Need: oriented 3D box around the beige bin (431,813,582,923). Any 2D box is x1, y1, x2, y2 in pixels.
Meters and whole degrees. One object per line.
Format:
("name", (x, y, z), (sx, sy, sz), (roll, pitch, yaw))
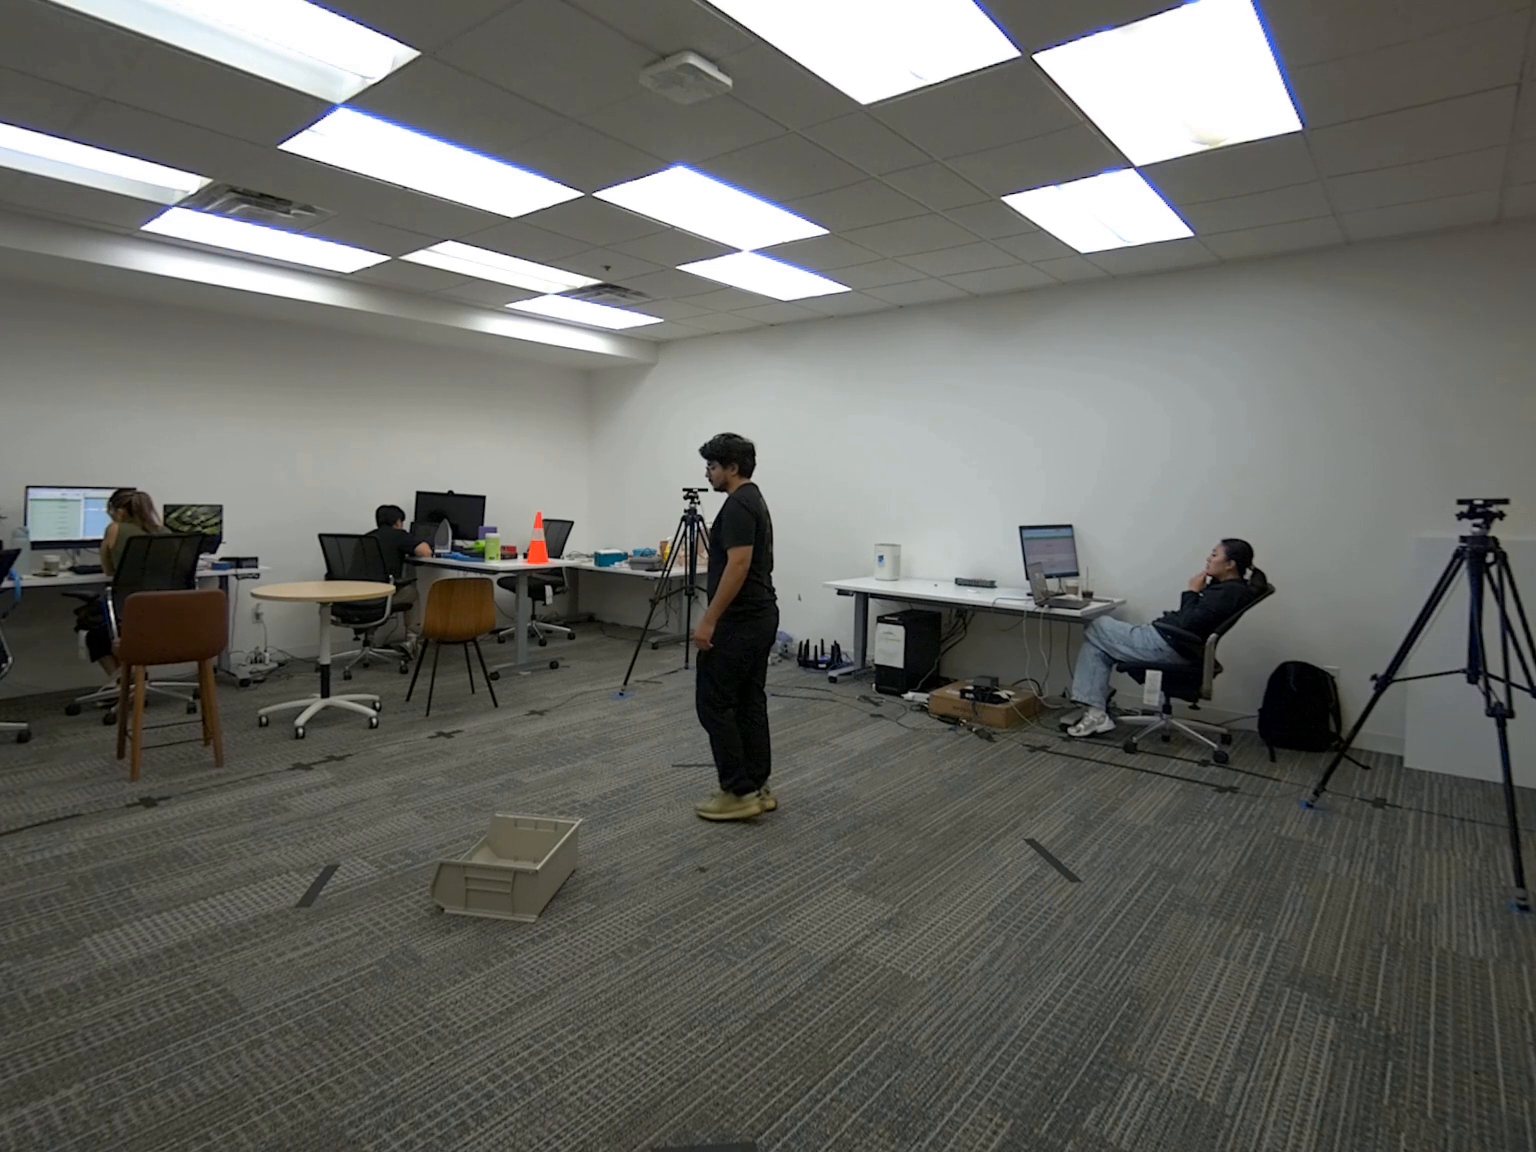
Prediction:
("beige bin", (-0.902, 0.988, 2.927), (0.381, 0.188, 0.419), (3, 5, 8))
